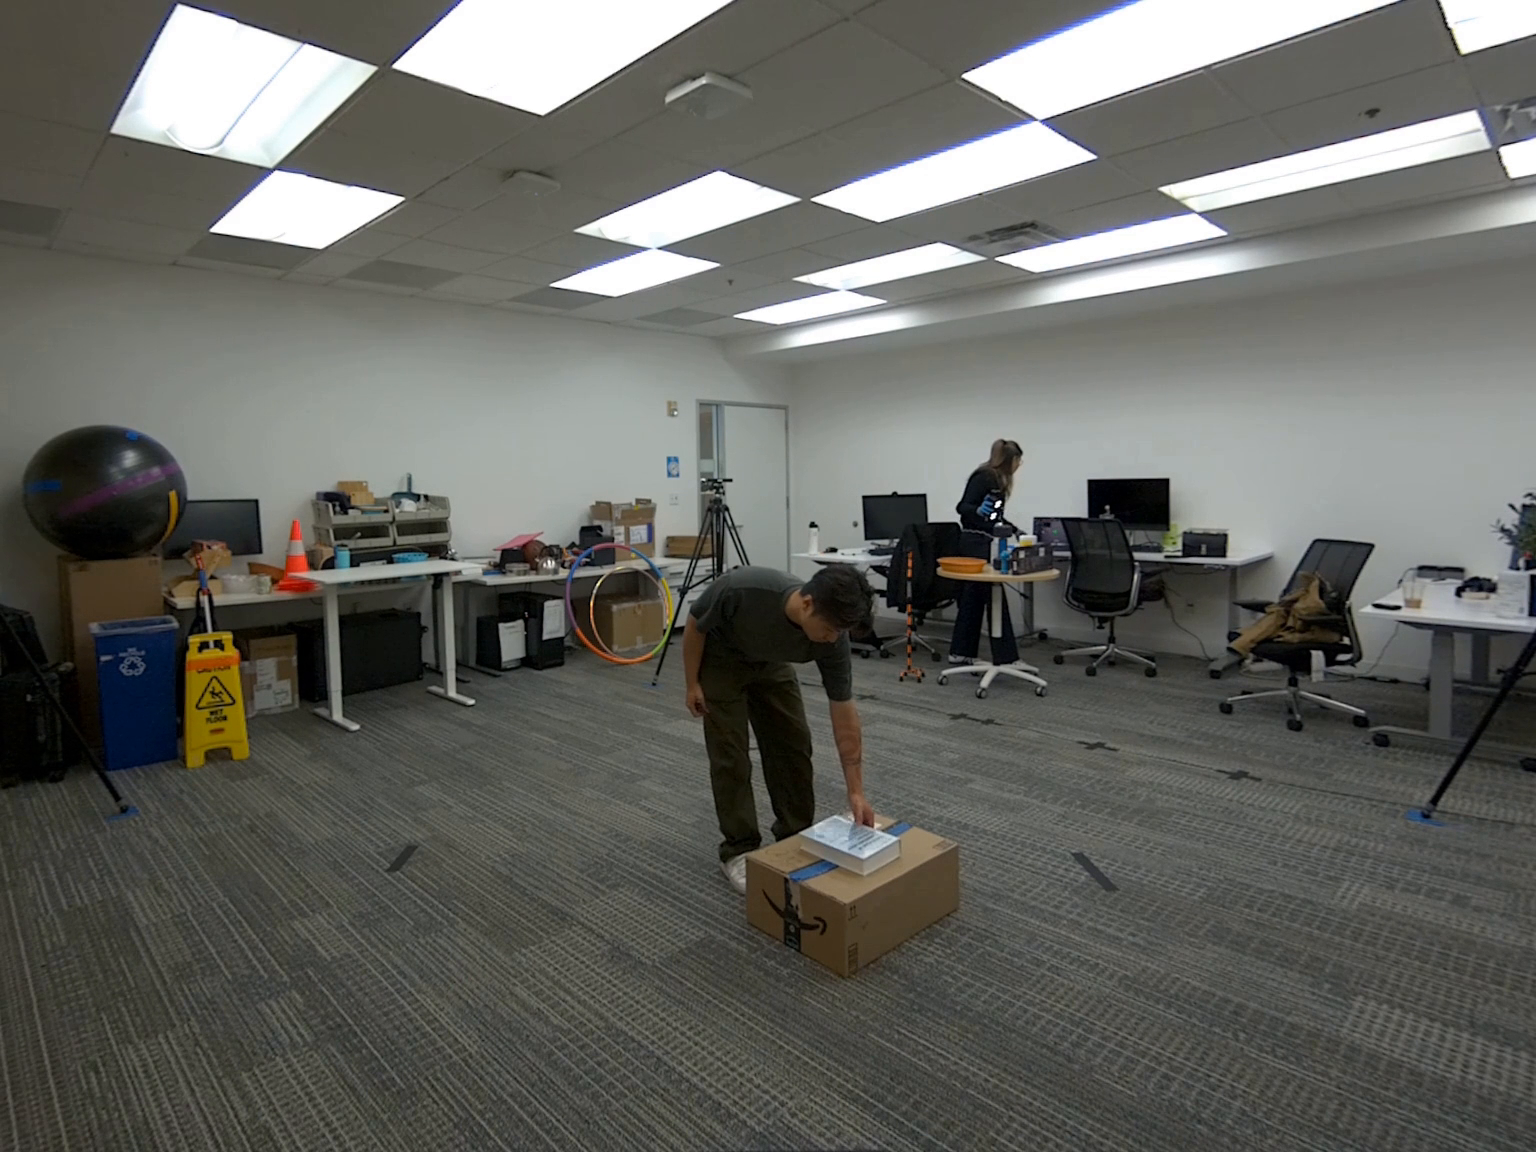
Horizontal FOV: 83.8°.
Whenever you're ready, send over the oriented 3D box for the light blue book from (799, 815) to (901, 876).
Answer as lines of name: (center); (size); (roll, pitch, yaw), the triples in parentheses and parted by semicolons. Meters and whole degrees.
light blue book: (0.259, 0.846, 2.693); (0.187, 0.058, 0.269); (-10, 10, -43)
